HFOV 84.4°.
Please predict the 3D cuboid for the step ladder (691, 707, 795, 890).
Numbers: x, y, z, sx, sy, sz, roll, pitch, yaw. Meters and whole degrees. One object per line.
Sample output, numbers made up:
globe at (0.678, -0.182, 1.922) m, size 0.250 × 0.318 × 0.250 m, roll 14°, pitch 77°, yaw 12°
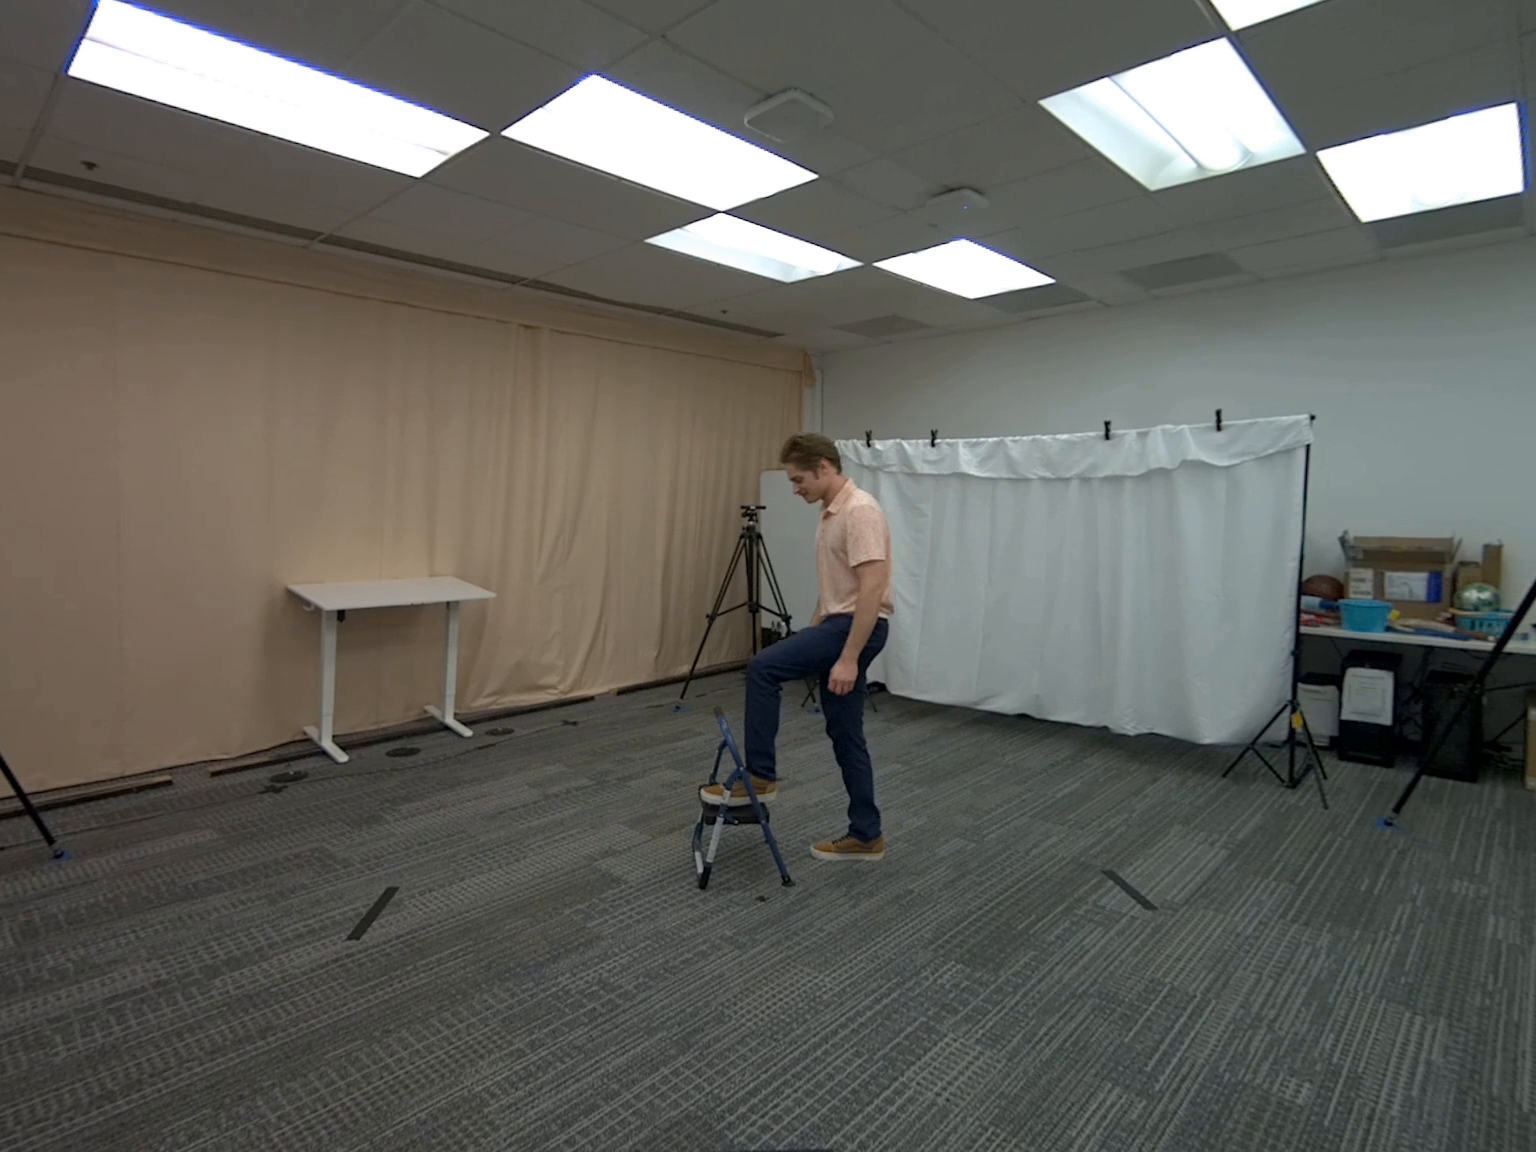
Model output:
step ladder at (-0.109, 0.822, 3.259) m, size 0.346 × 0.605 × 0.435 m, roll 0°, pitch 3°, yaw -8°
